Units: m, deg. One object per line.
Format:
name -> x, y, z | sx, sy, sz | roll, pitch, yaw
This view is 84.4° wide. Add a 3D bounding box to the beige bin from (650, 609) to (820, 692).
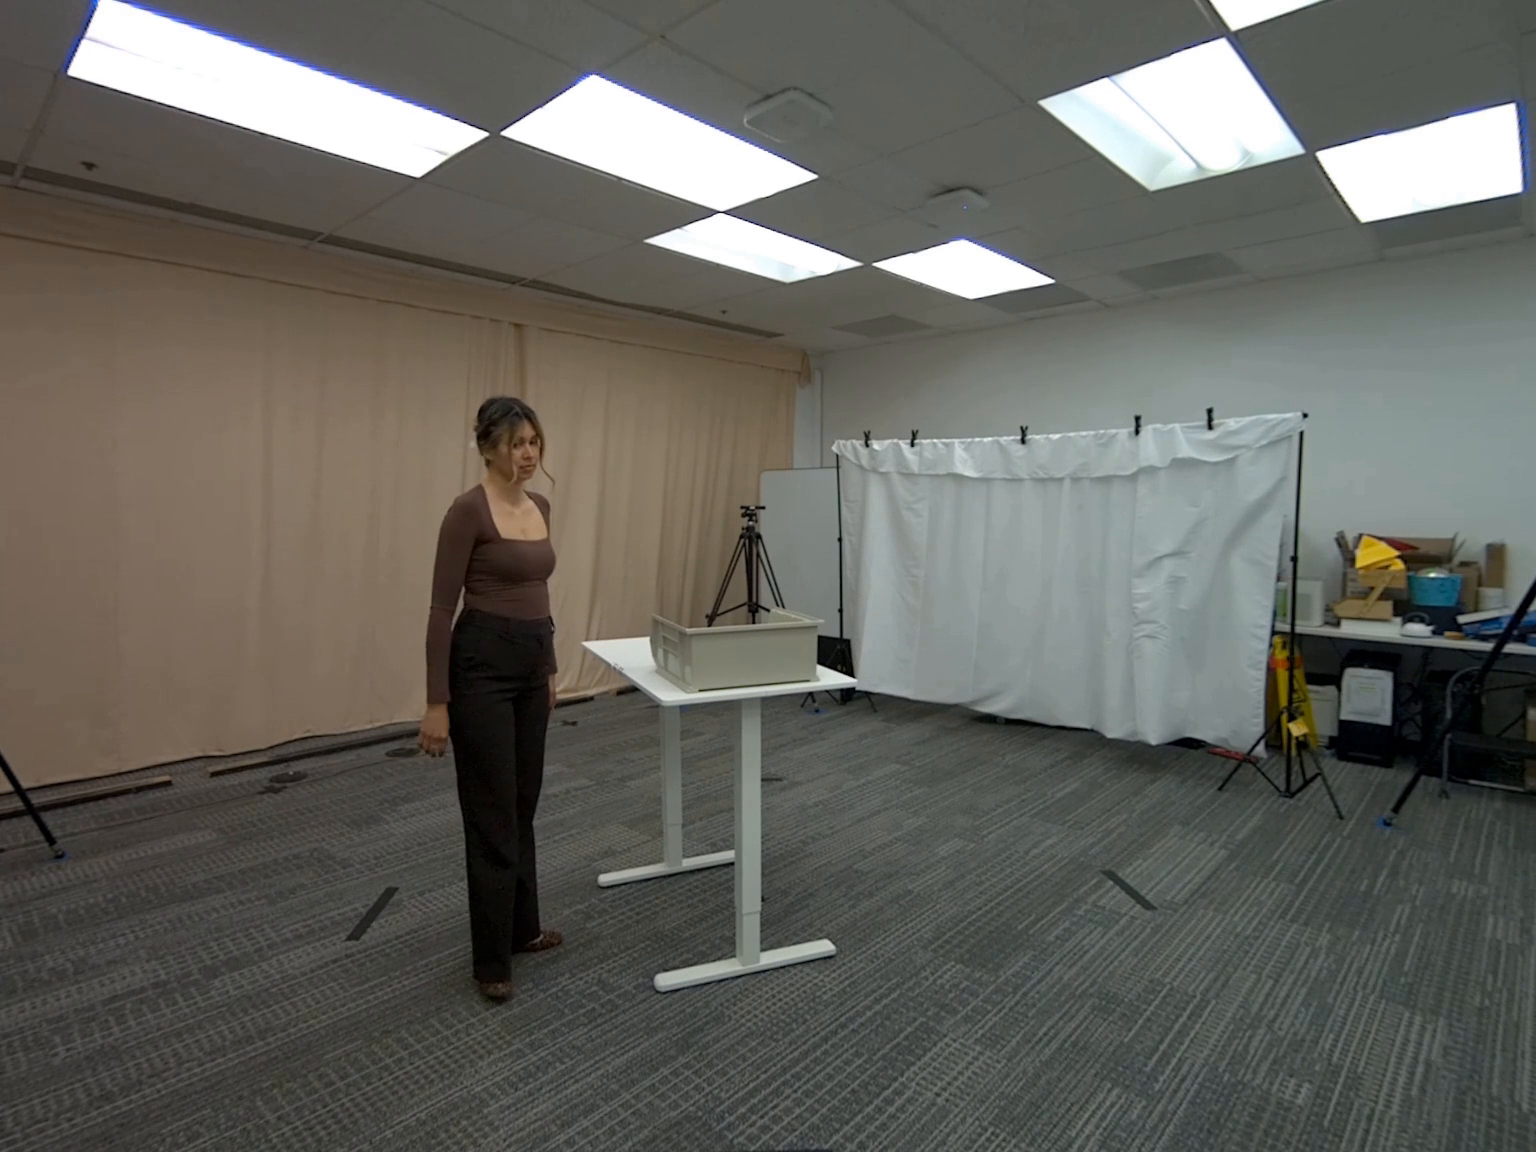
beige bin -> -0.103, 0.216, 2.528 | 0.413, 0.188, 0.387 | -2, 7, -23
